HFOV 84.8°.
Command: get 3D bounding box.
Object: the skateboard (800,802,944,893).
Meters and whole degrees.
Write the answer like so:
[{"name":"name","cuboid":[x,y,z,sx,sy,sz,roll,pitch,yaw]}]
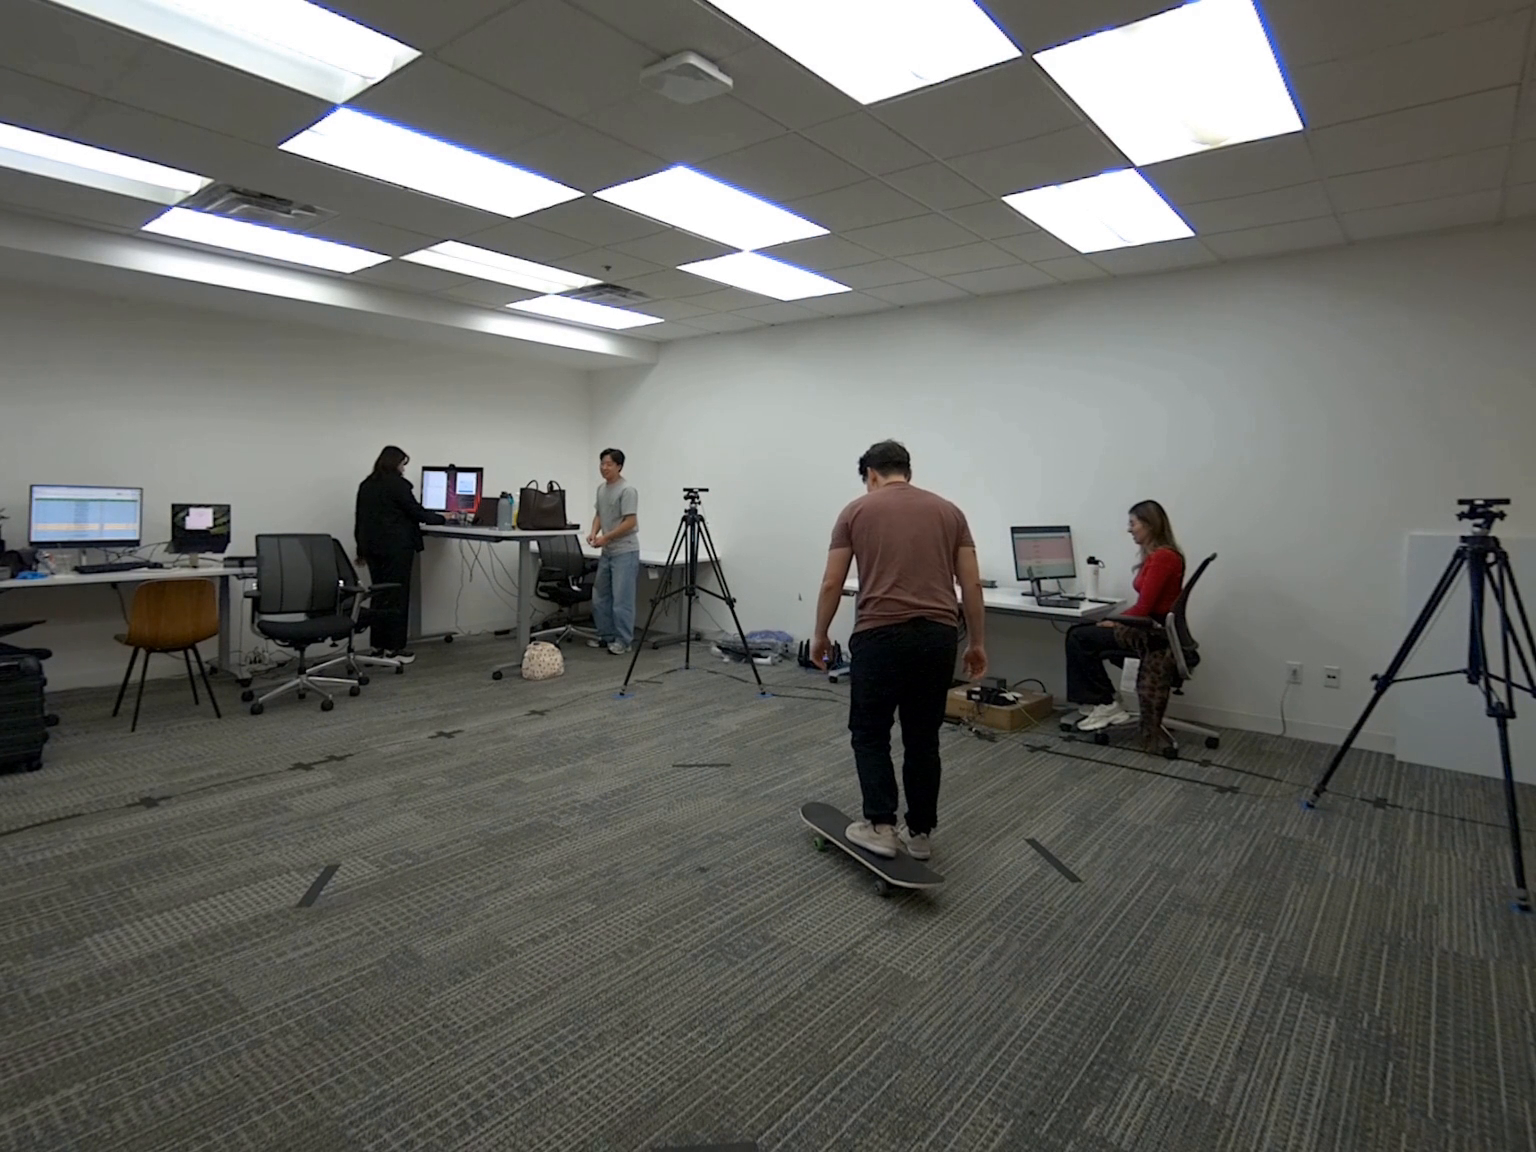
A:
[{"name":"skateboard","cuboid":[0.355,1.015,3.162,0.188,0.110,0.808,1,4,-28]}]
